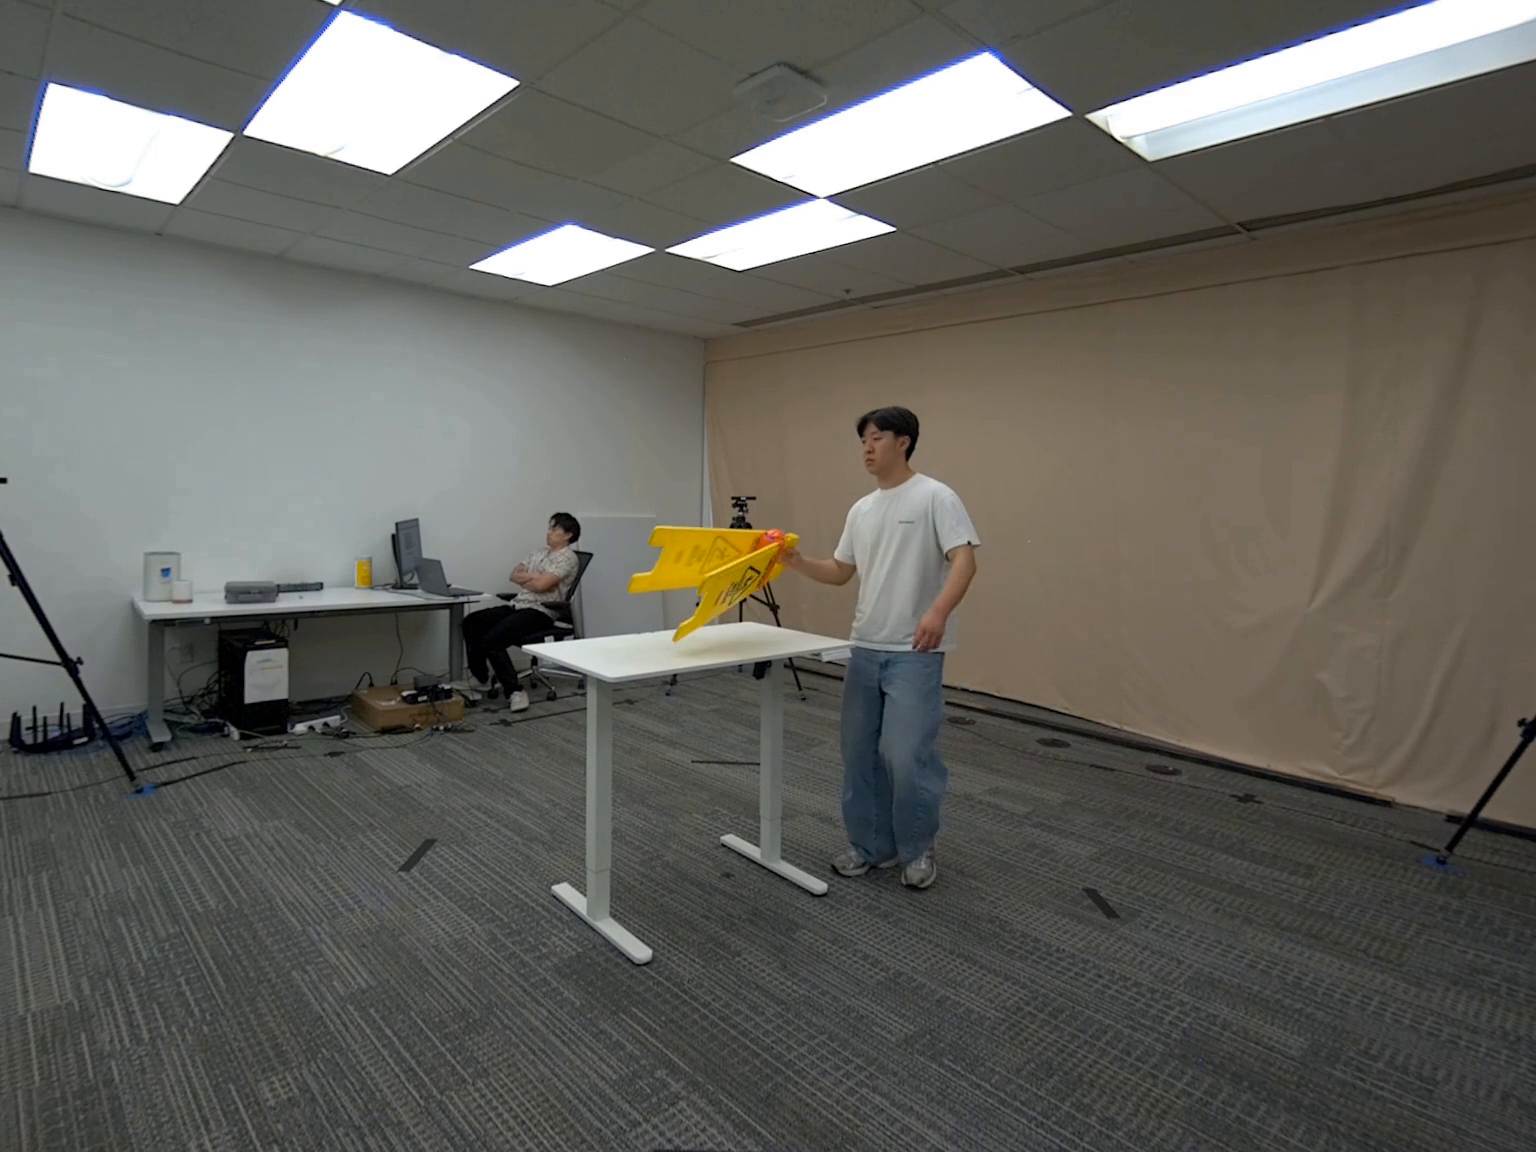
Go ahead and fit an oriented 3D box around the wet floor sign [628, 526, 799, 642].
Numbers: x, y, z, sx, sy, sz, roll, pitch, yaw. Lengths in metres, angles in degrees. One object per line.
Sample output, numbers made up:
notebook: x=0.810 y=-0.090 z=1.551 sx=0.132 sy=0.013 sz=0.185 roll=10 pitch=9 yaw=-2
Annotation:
wet floor sign: x=-0.123 y=-0.018 z=2.917 sx=0.297 sy=0.280 sz=0.635 roll=42 pitch=33 yaw=24
